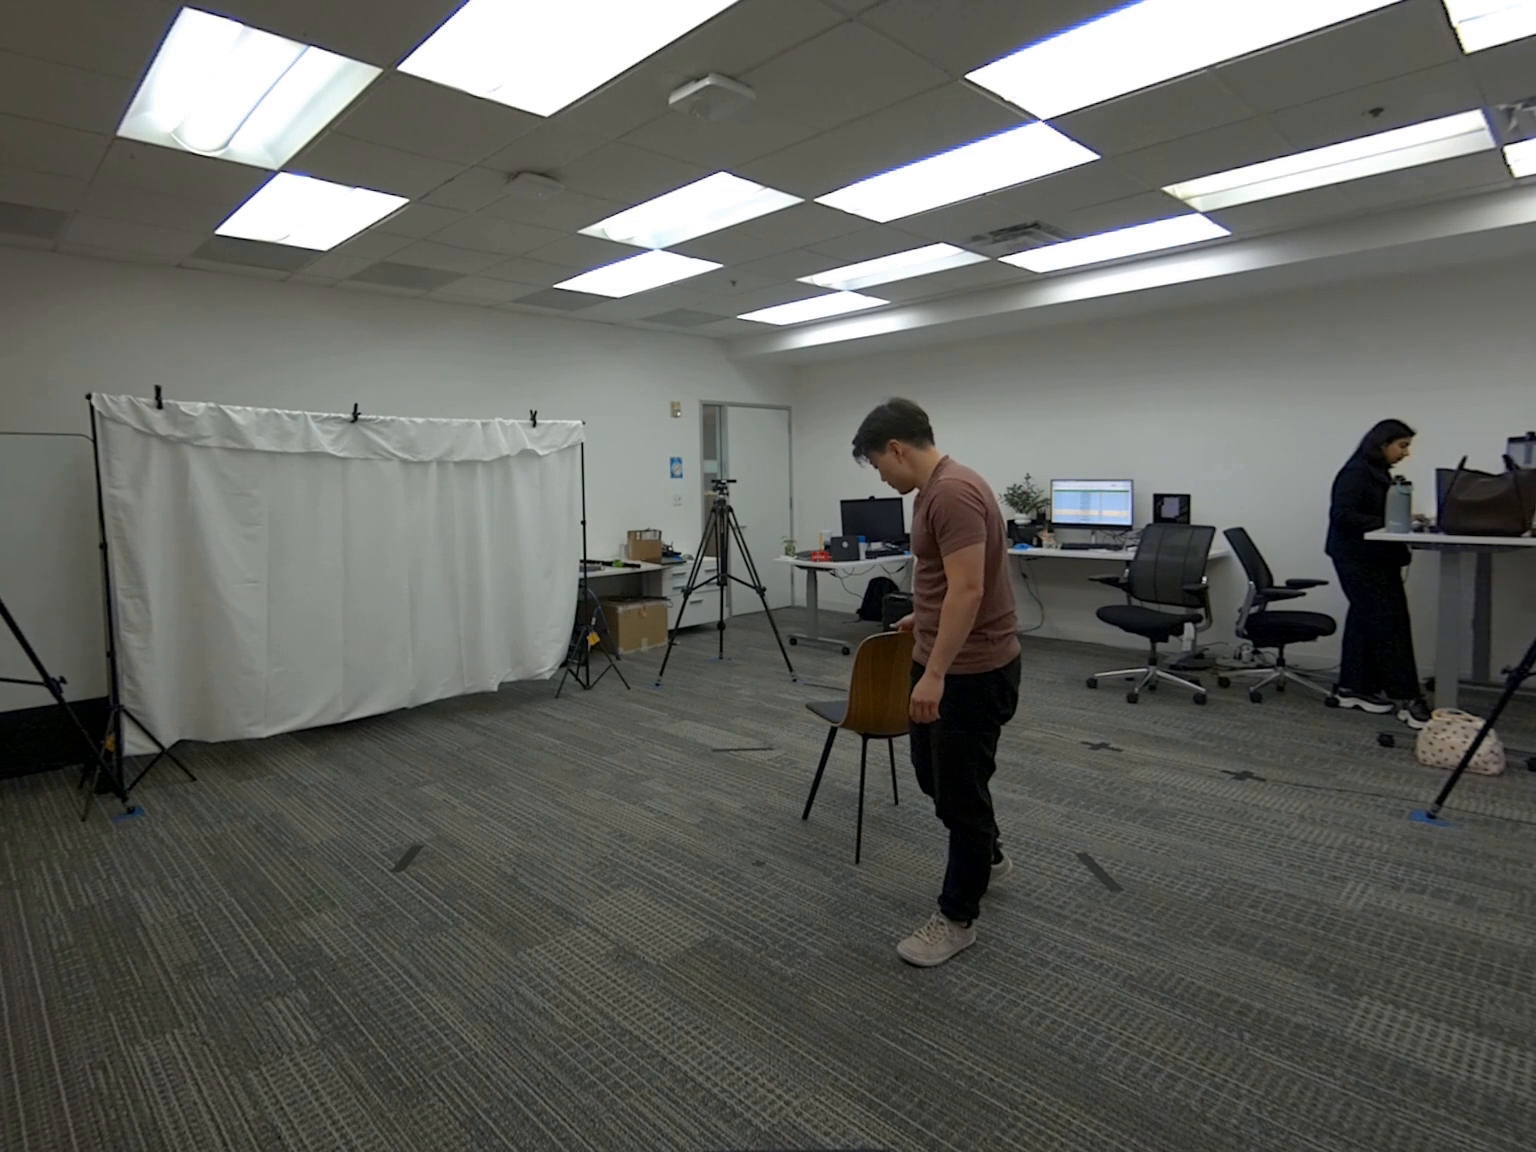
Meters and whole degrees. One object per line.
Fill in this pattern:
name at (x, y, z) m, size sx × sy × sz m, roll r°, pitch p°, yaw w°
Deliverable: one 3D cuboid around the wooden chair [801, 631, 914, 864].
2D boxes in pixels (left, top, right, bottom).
wooden chair at (0.423, 0.584, 3.352) m, size 0.469 × 0.871 × 0.537 m, roll -3°, pitch 9°, yaw -22°
